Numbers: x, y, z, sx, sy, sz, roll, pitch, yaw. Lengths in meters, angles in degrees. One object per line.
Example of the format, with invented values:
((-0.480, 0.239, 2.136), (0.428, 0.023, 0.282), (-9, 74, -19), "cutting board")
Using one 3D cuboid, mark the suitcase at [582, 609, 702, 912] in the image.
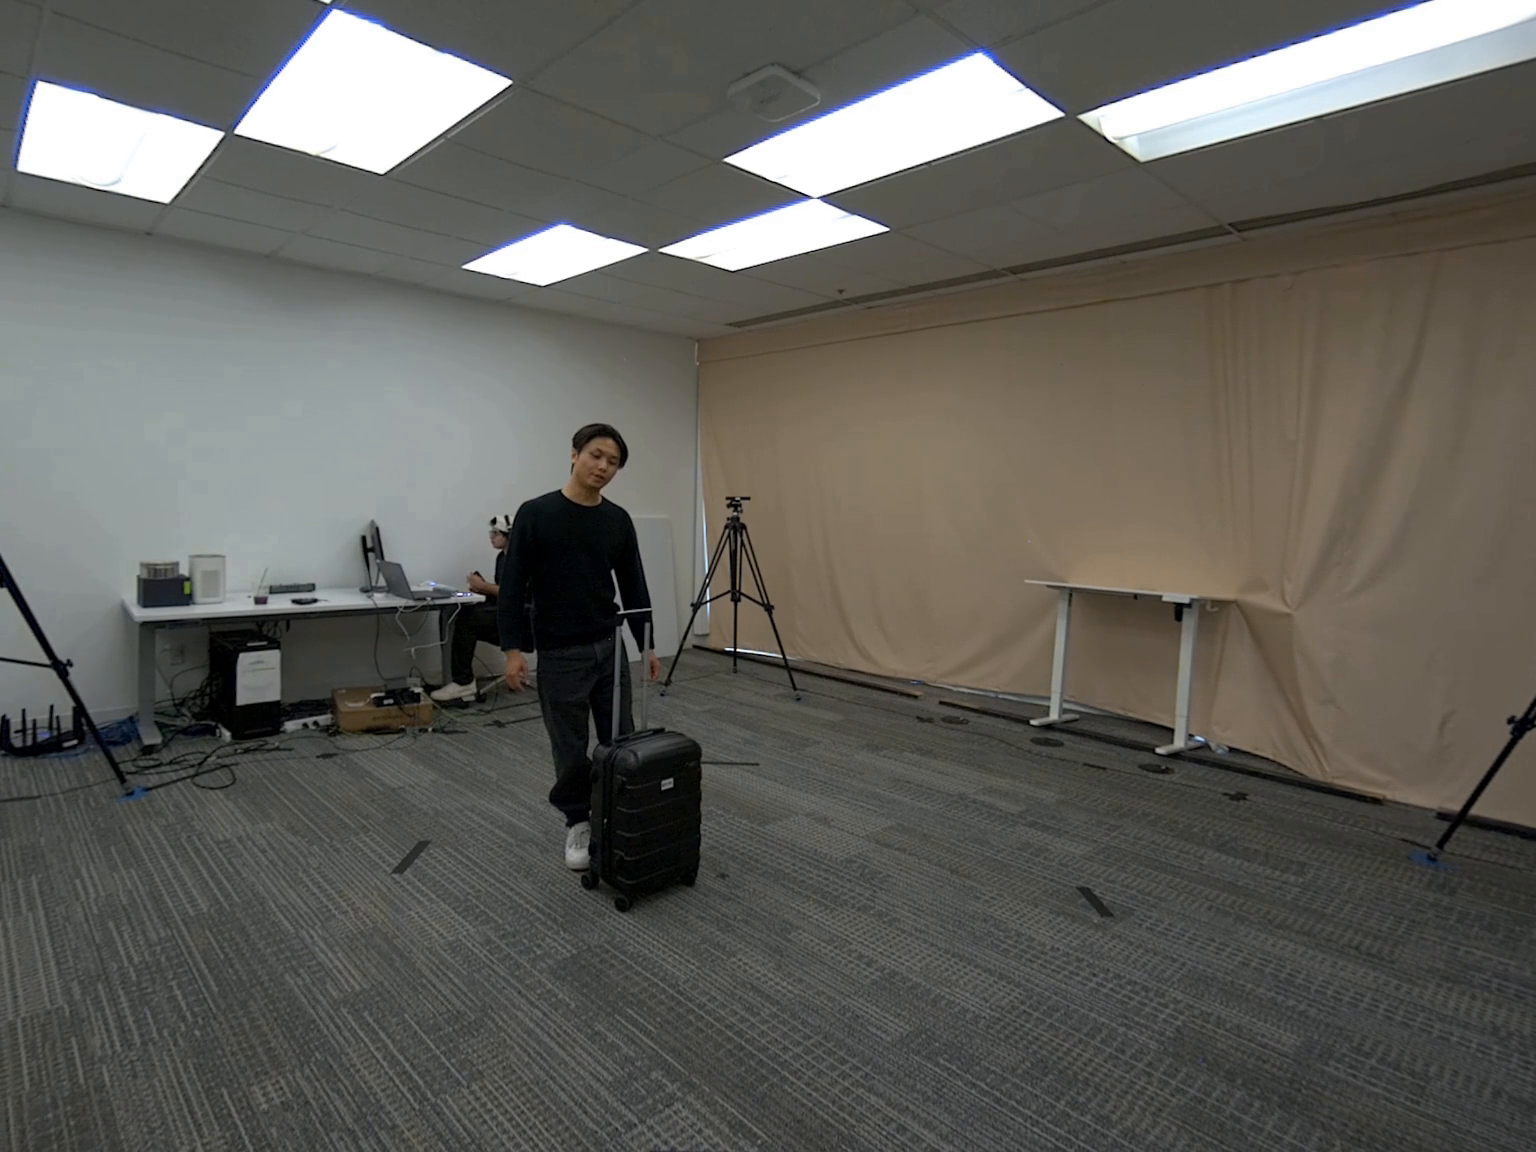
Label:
((-0.422, 0.638, 2.963), (0.375, 0.975, 0.264), (-1, 7, -44), "suitcase")
